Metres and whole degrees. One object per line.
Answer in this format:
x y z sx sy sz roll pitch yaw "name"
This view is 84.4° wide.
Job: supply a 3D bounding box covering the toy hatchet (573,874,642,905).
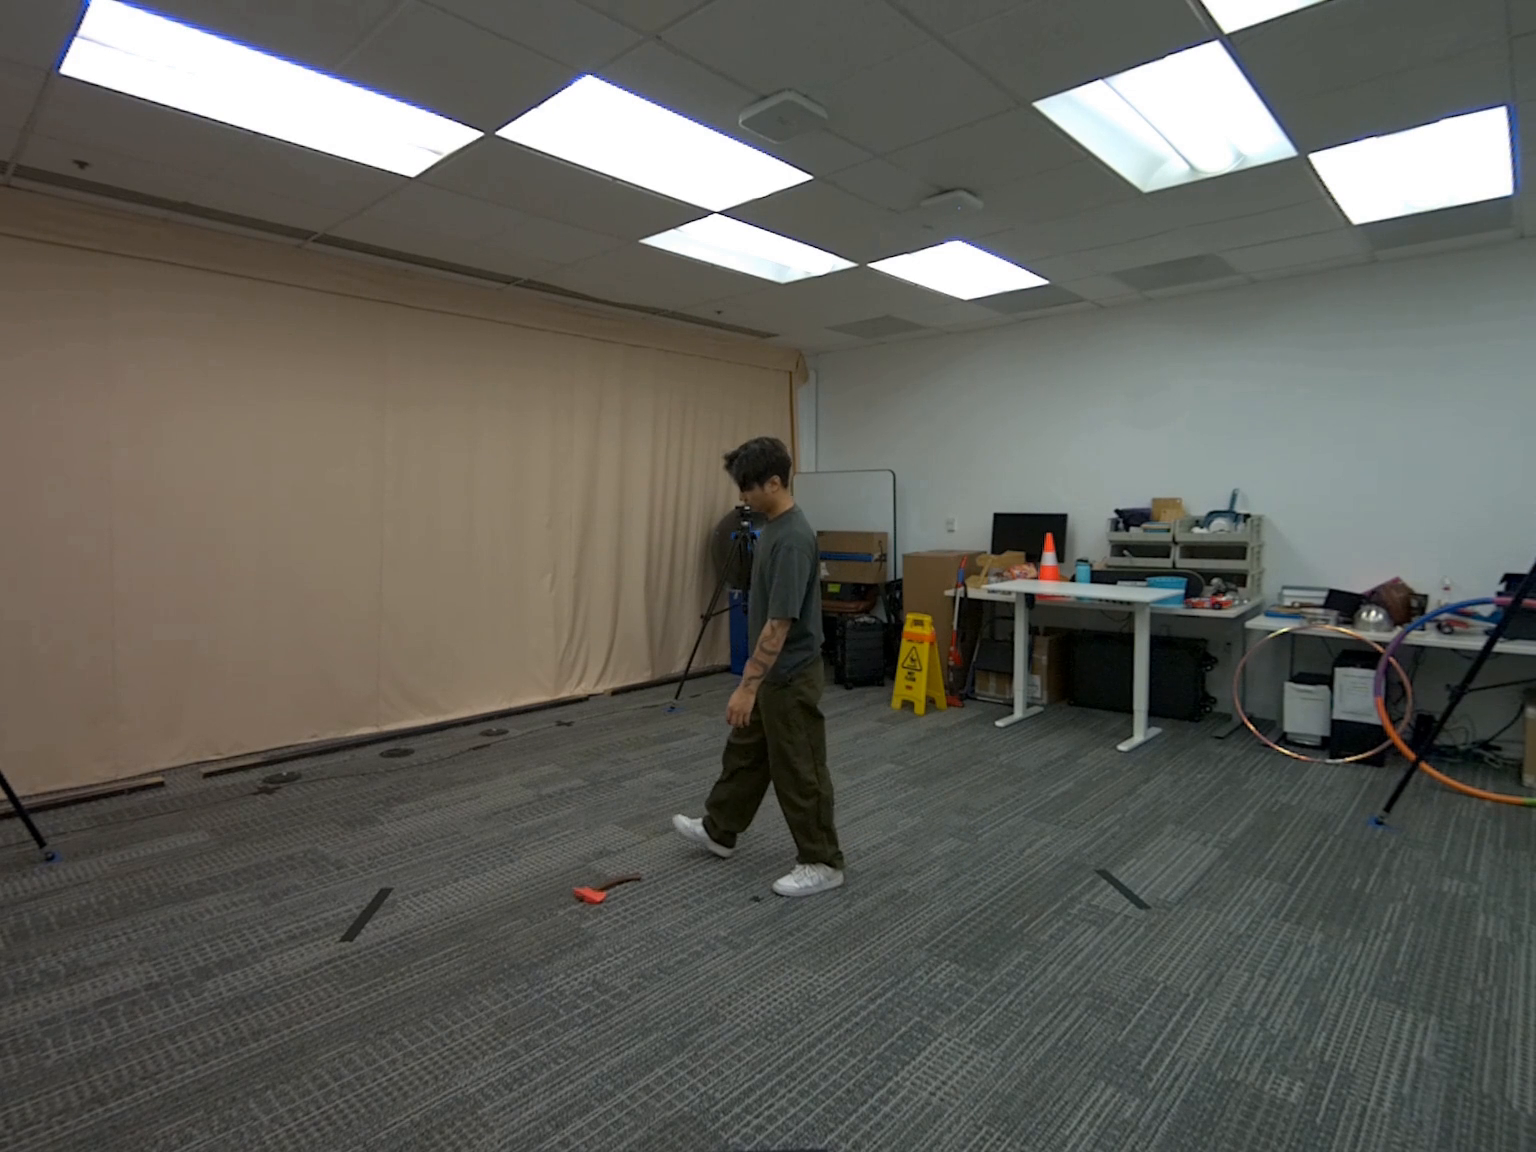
-0.565 1.135 3.045 0.262 0.029 0.135 -1 4 -33 "toy hatchet"
